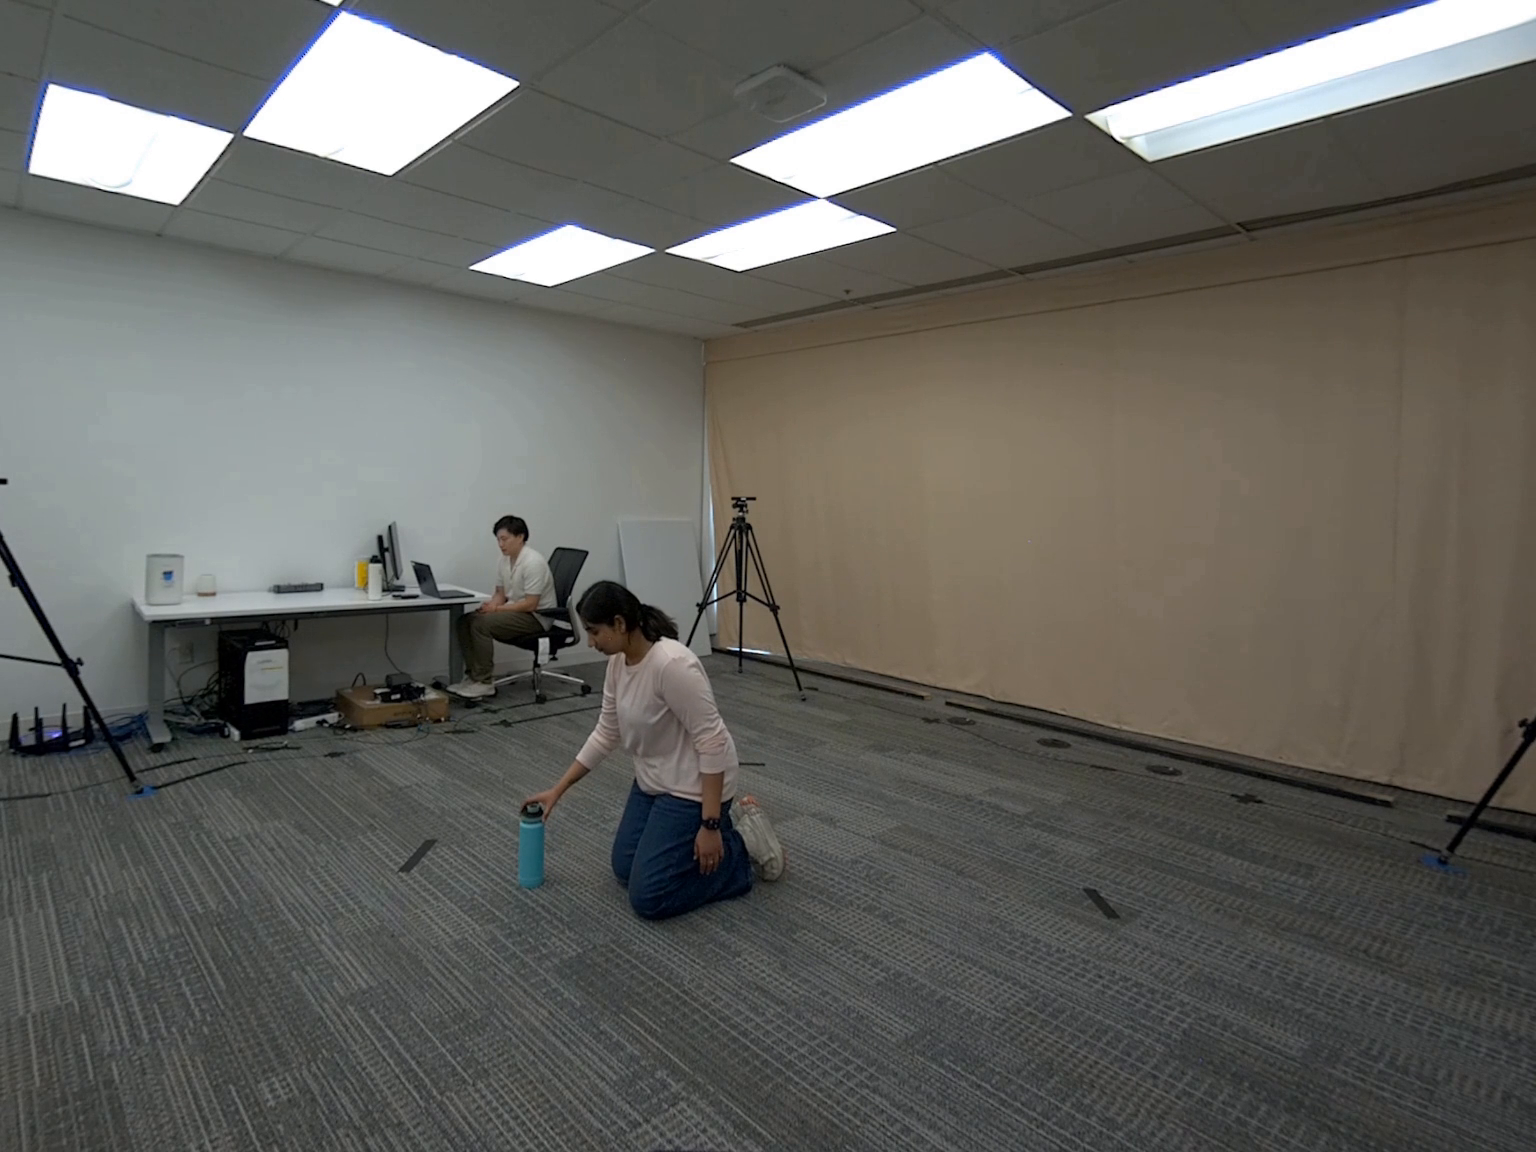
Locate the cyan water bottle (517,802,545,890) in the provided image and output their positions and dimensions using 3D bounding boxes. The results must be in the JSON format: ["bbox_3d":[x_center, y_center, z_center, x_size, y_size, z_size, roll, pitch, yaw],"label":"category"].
[{"bbox_3d":[-0.846,0.952,3.009,0.092,0.282,0.092,2,4,-1],"label":"cyan water bottle"}]
